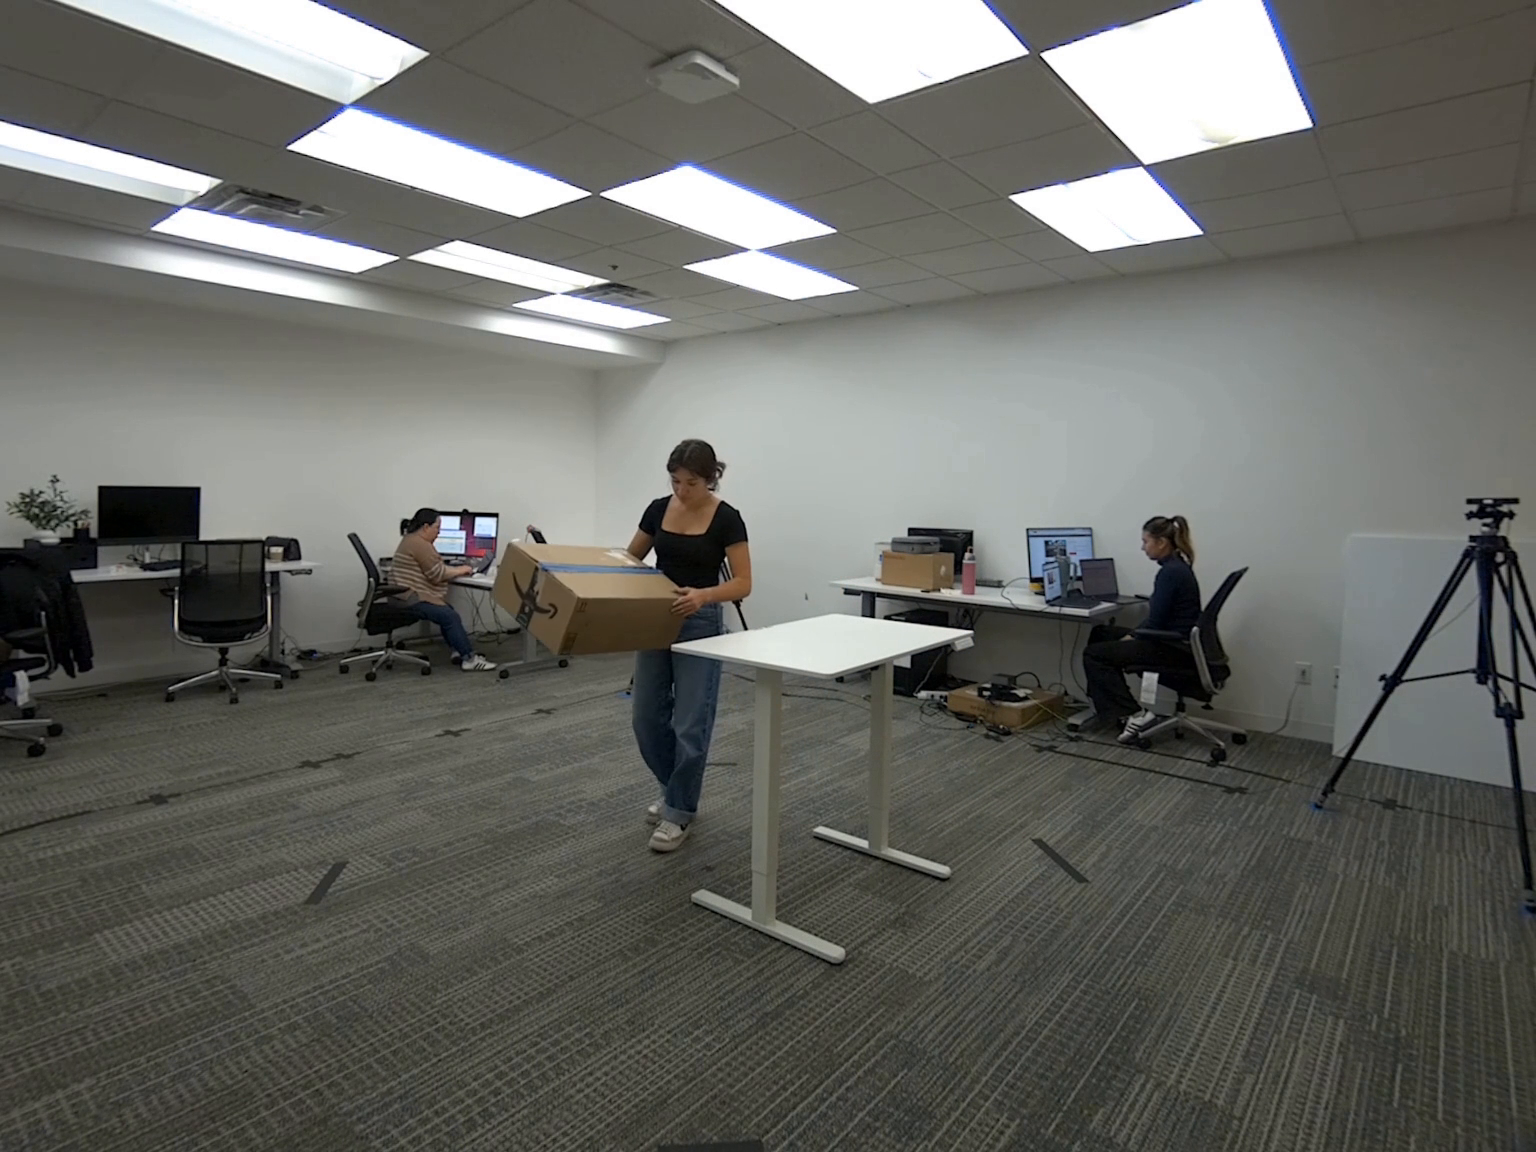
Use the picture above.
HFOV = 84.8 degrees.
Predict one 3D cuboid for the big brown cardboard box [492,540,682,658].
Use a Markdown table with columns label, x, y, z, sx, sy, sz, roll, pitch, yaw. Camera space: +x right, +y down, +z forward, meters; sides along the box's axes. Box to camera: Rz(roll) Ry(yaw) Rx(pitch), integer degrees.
| label | x | y | z | sx | sy | sz | roll | pitch | yaw |
| --- | --- | --- | --- | --- | --- | --- | --- | --- | --- |
| big brown cardboard box | -0.633 | 0.070 | 3.042 | 0.434 | 0.231 | 0.570 | 31 | 17 | 33 |
